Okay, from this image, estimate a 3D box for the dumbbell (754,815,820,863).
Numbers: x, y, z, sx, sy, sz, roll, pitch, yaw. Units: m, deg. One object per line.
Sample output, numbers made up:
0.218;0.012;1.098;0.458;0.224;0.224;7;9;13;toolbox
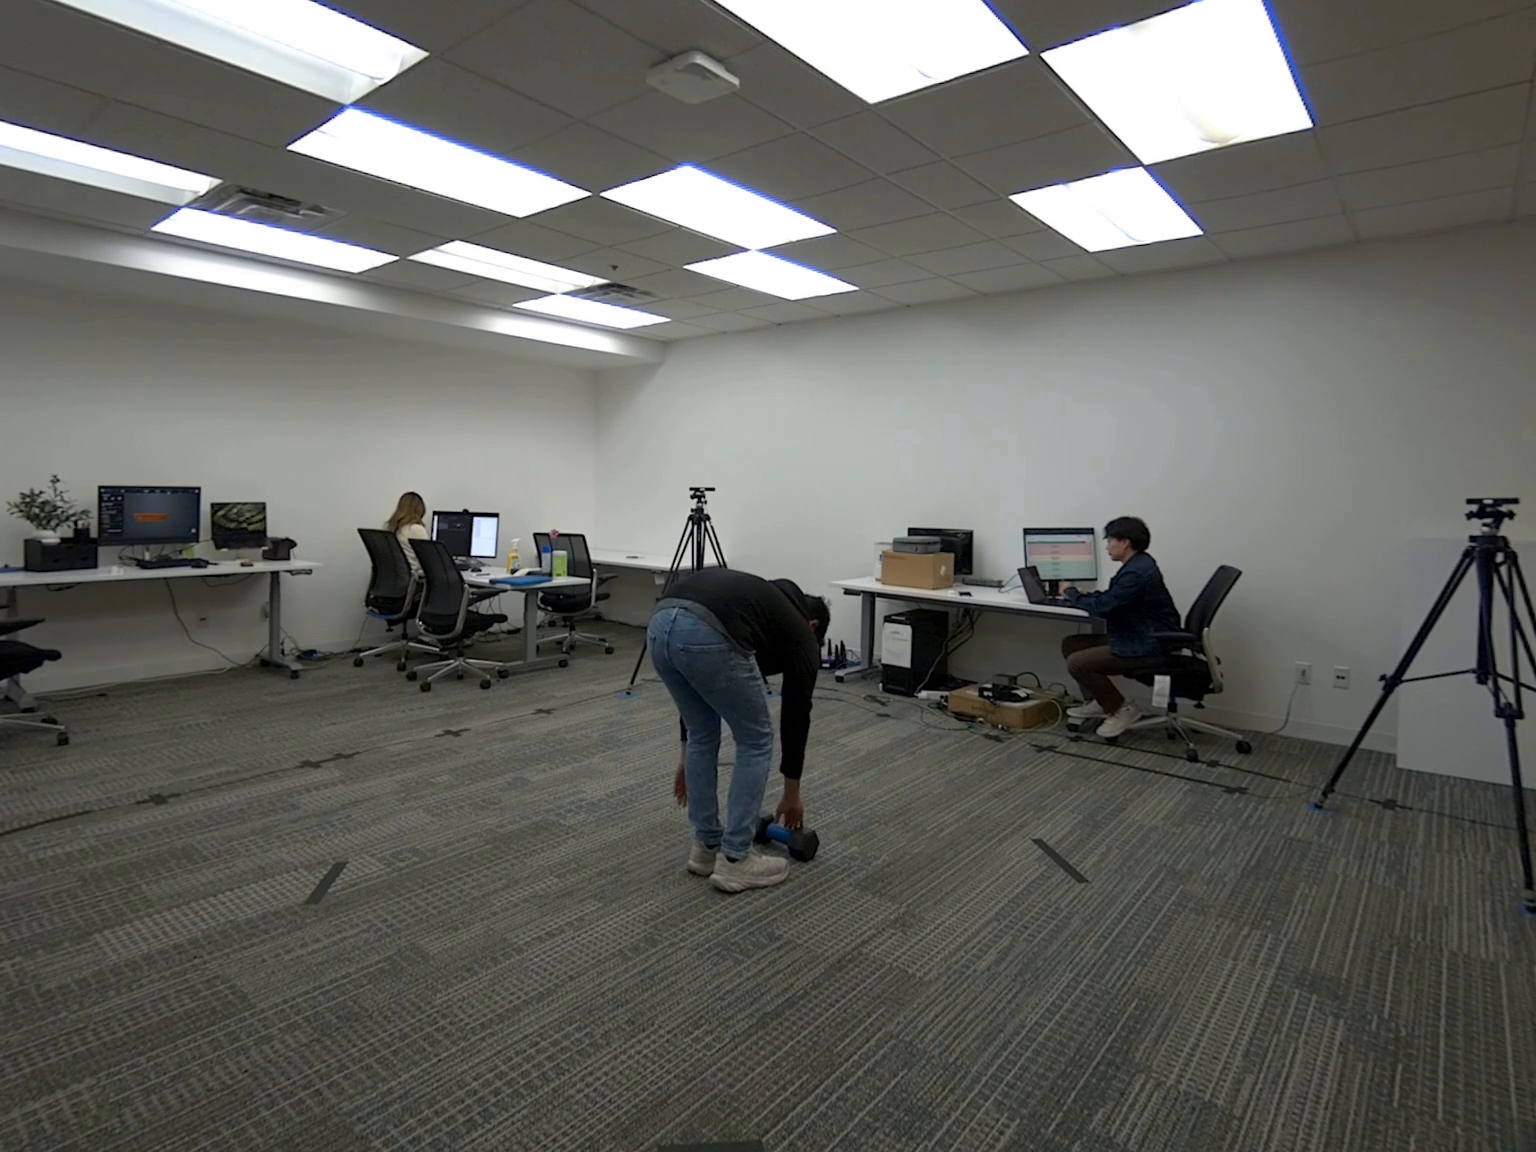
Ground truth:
0.044;0.998;3.290;0.304;0.124;0.104;6;-25;43;dumbbell
